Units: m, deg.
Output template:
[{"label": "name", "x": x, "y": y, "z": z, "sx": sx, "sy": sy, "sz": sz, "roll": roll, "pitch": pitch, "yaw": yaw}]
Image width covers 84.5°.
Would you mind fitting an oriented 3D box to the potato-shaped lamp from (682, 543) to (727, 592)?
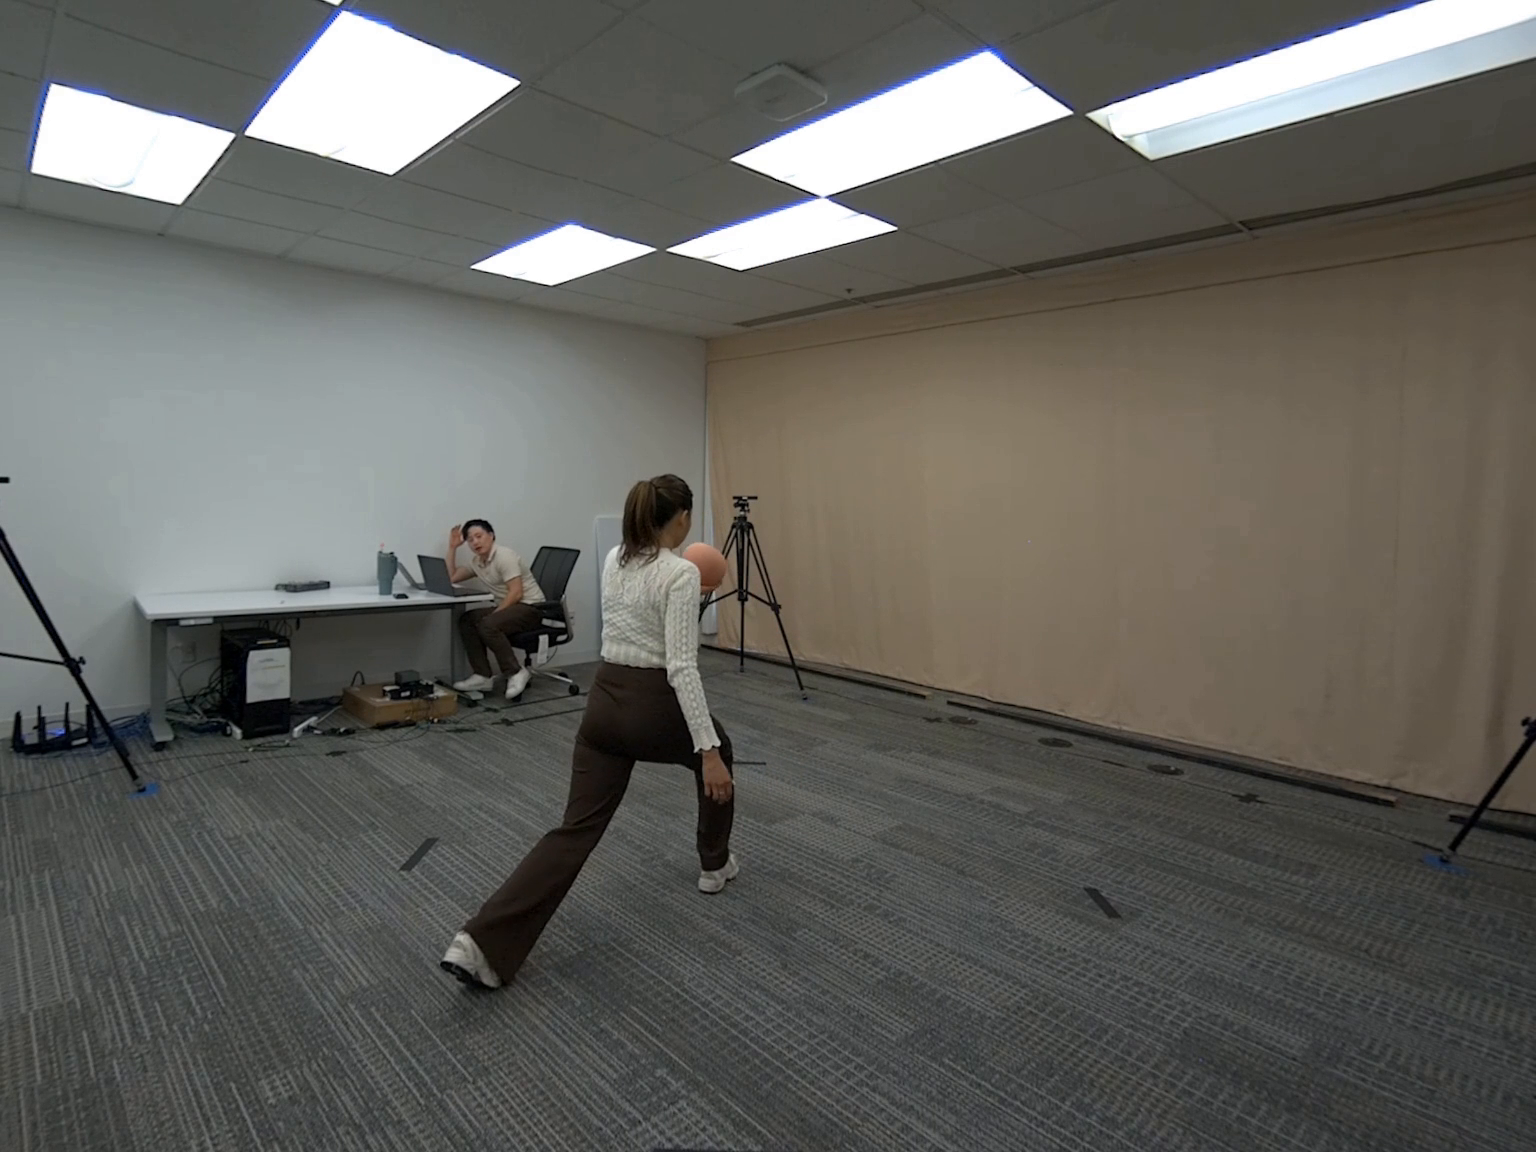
[{"label": "potato-shaped lamp", "x": -0.272, "y": -0.047, "z": 3.347, "sx": 0.177, "sy": 0.165, "sz": 0.192, "roll": 25, "pitch": -11, "yaw": 39}]
